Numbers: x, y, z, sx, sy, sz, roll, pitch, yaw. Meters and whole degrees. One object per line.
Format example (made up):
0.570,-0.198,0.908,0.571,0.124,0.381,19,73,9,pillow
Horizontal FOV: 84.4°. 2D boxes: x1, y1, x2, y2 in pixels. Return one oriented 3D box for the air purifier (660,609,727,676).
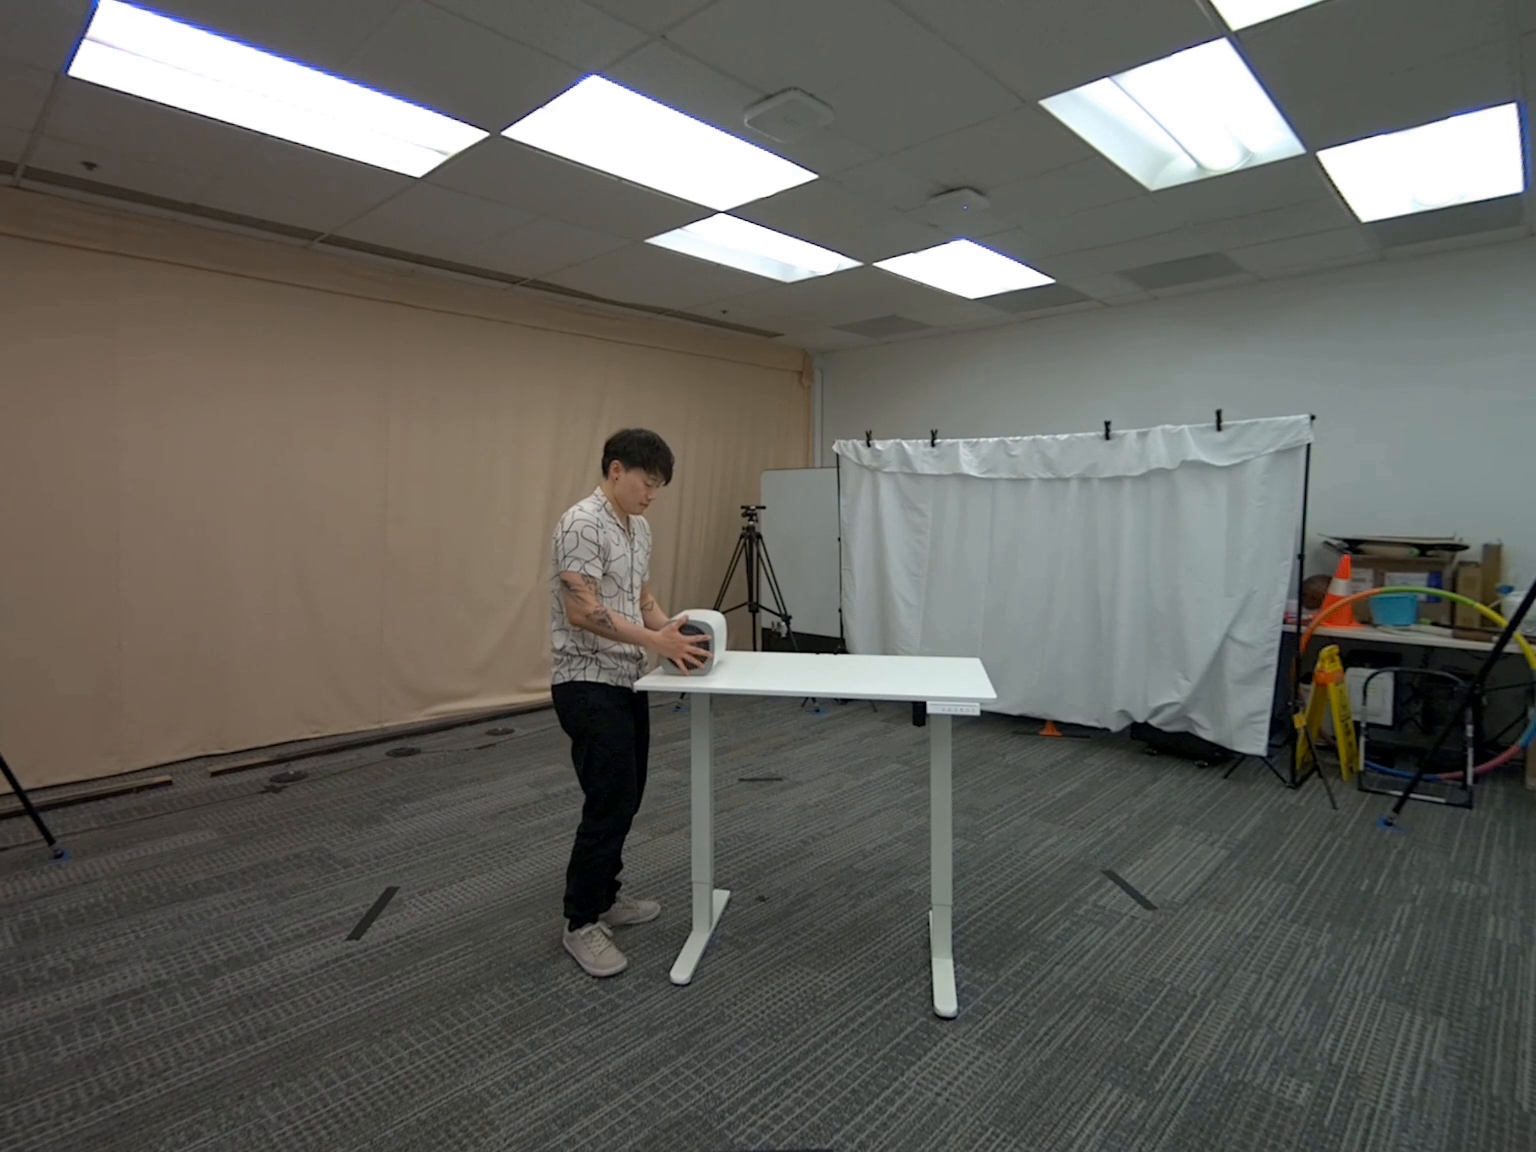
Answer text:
-0.226,0.202,2.638,0.173,0.171,0.264,0,4,6,air purifier
